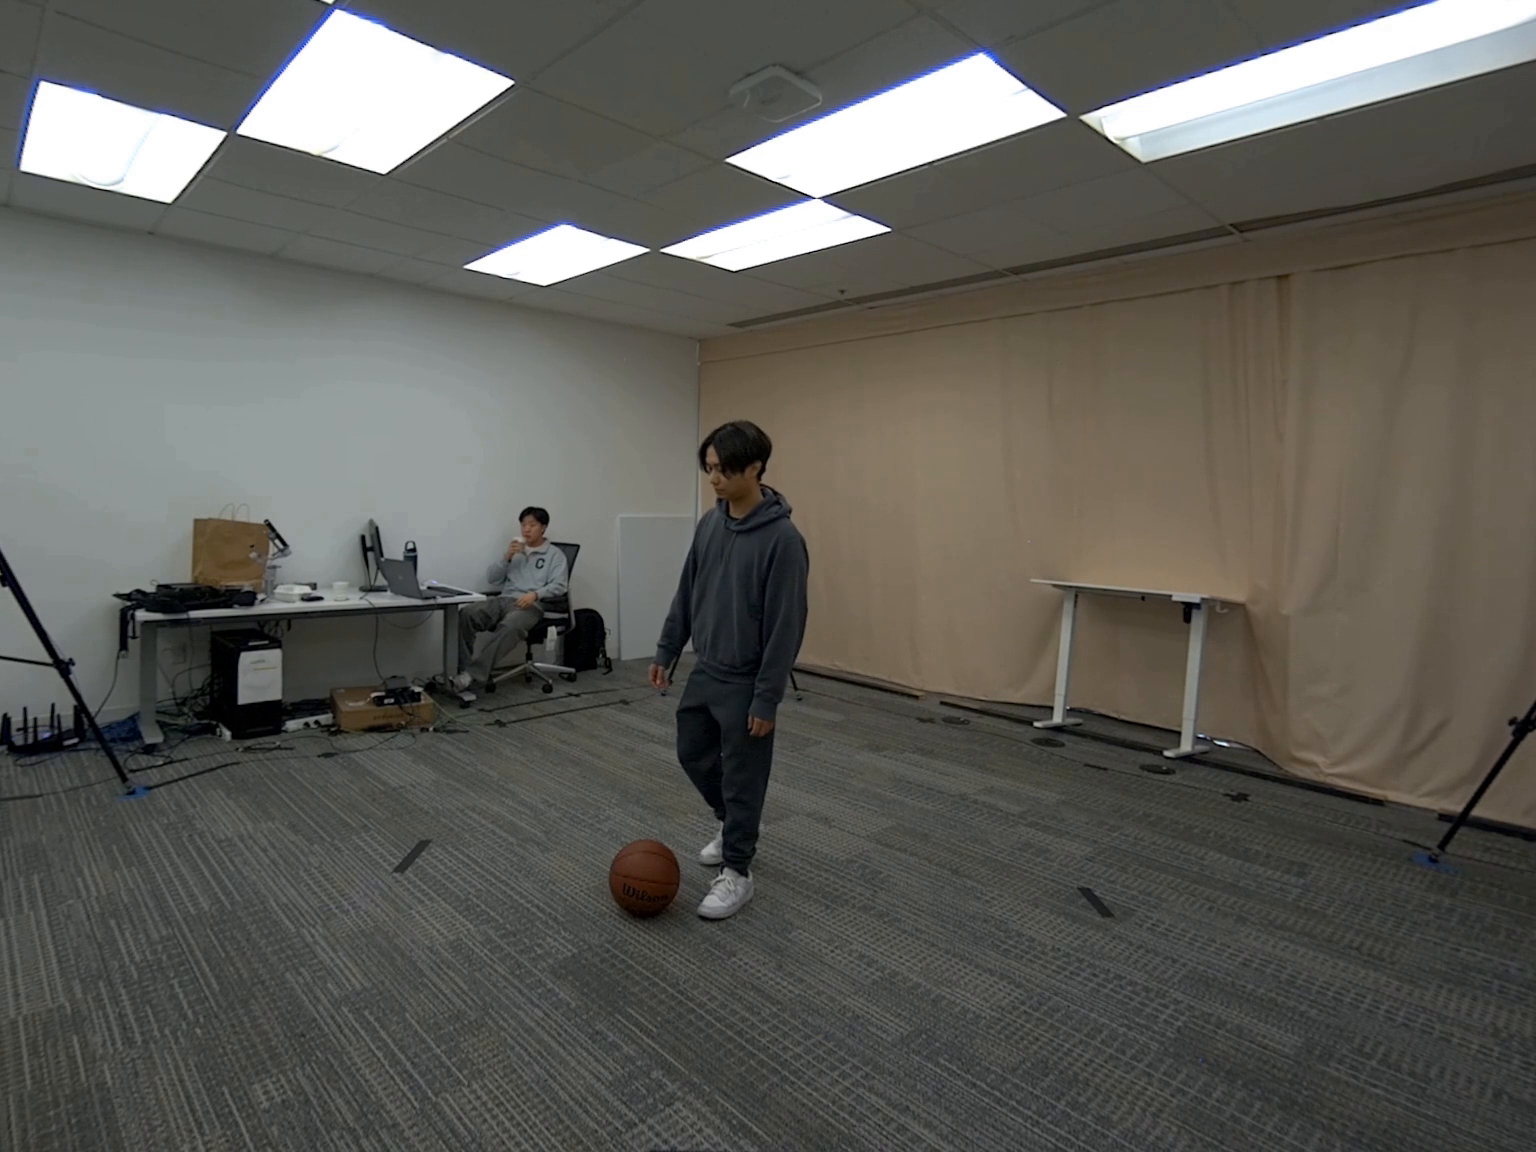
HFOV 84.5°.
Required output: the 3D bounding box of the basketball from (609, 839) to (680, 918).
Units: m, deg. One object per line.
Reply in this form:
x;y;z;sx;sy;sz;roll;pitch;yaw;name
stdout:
-0.411;1.004;2.811;0.236;0.235;0.237;1;4;-1;basketball
